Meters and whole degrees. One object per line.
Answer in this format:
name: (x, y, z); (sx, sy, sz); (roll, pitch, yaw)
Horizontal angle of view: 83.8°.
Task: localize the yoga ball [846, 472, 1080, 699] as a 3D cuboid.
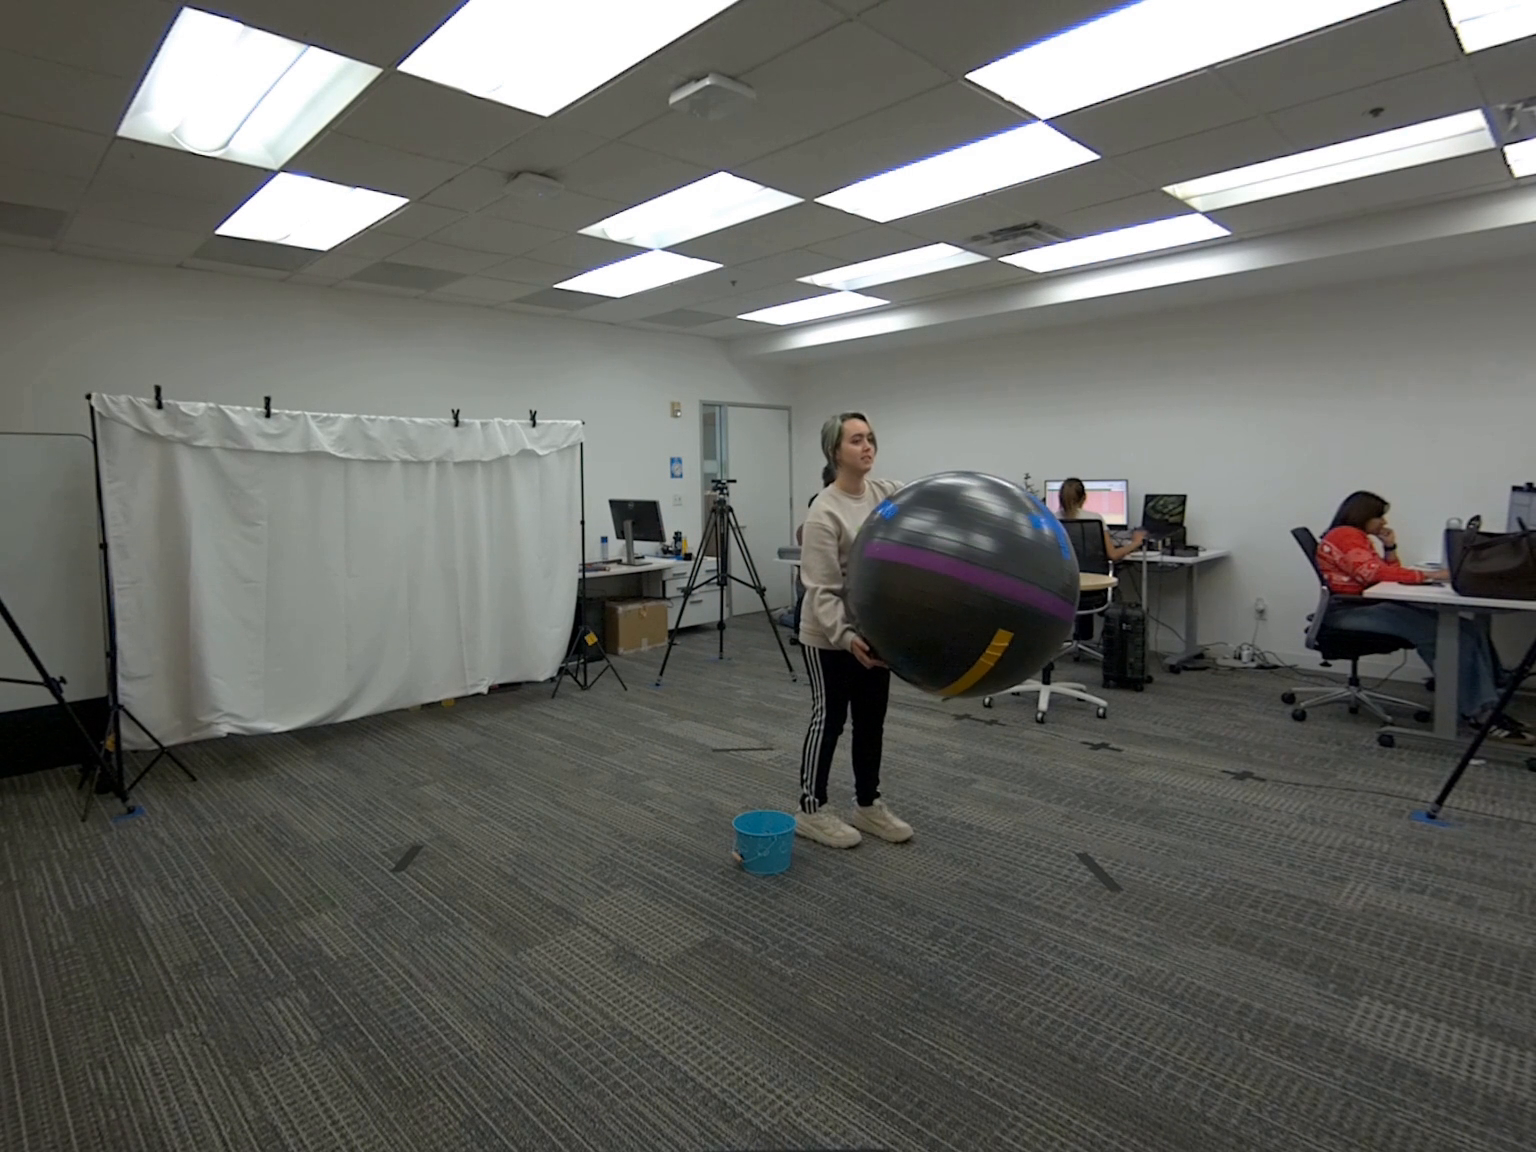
yoga ball: (0.670, 0.037, 2.870); (0.757, 0.755, 0.762); (-1, 5, -2)
